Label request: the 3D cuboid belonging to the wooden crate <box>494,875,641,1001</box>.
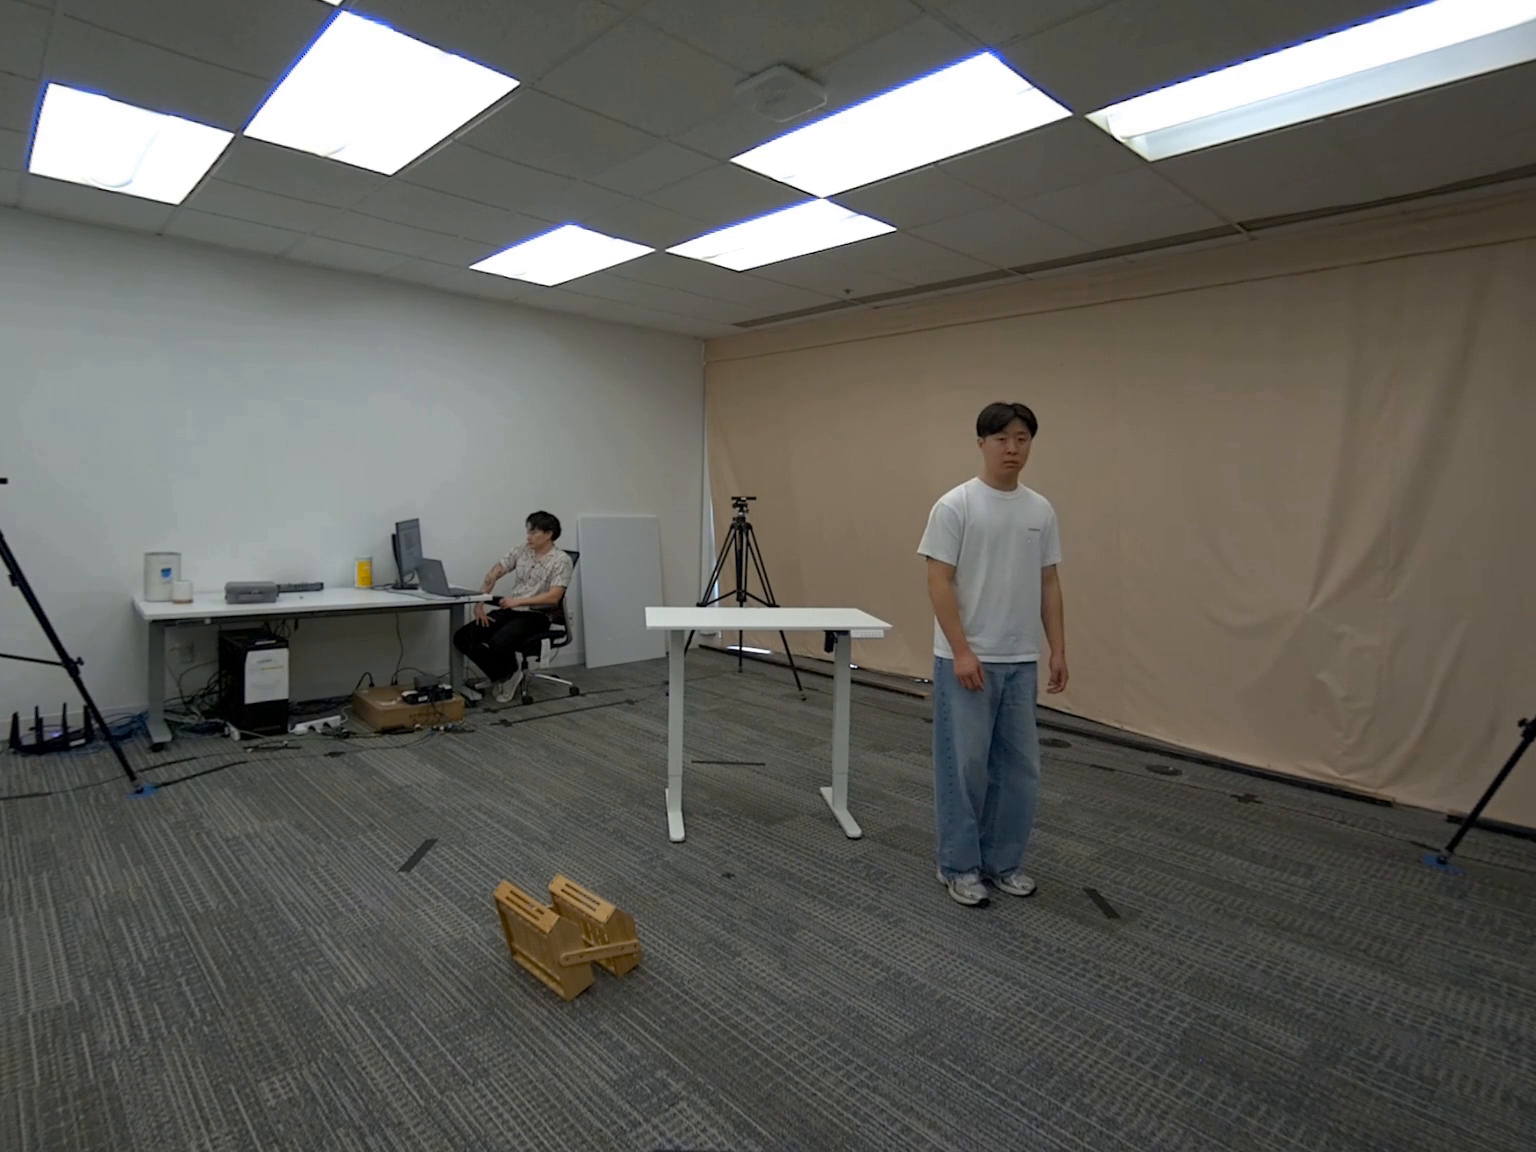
[{"bbox_3d":[-0.592,1.019,2.475,0.333,0.298,0.270,6,23,44],"label":"wooden crate"}]
